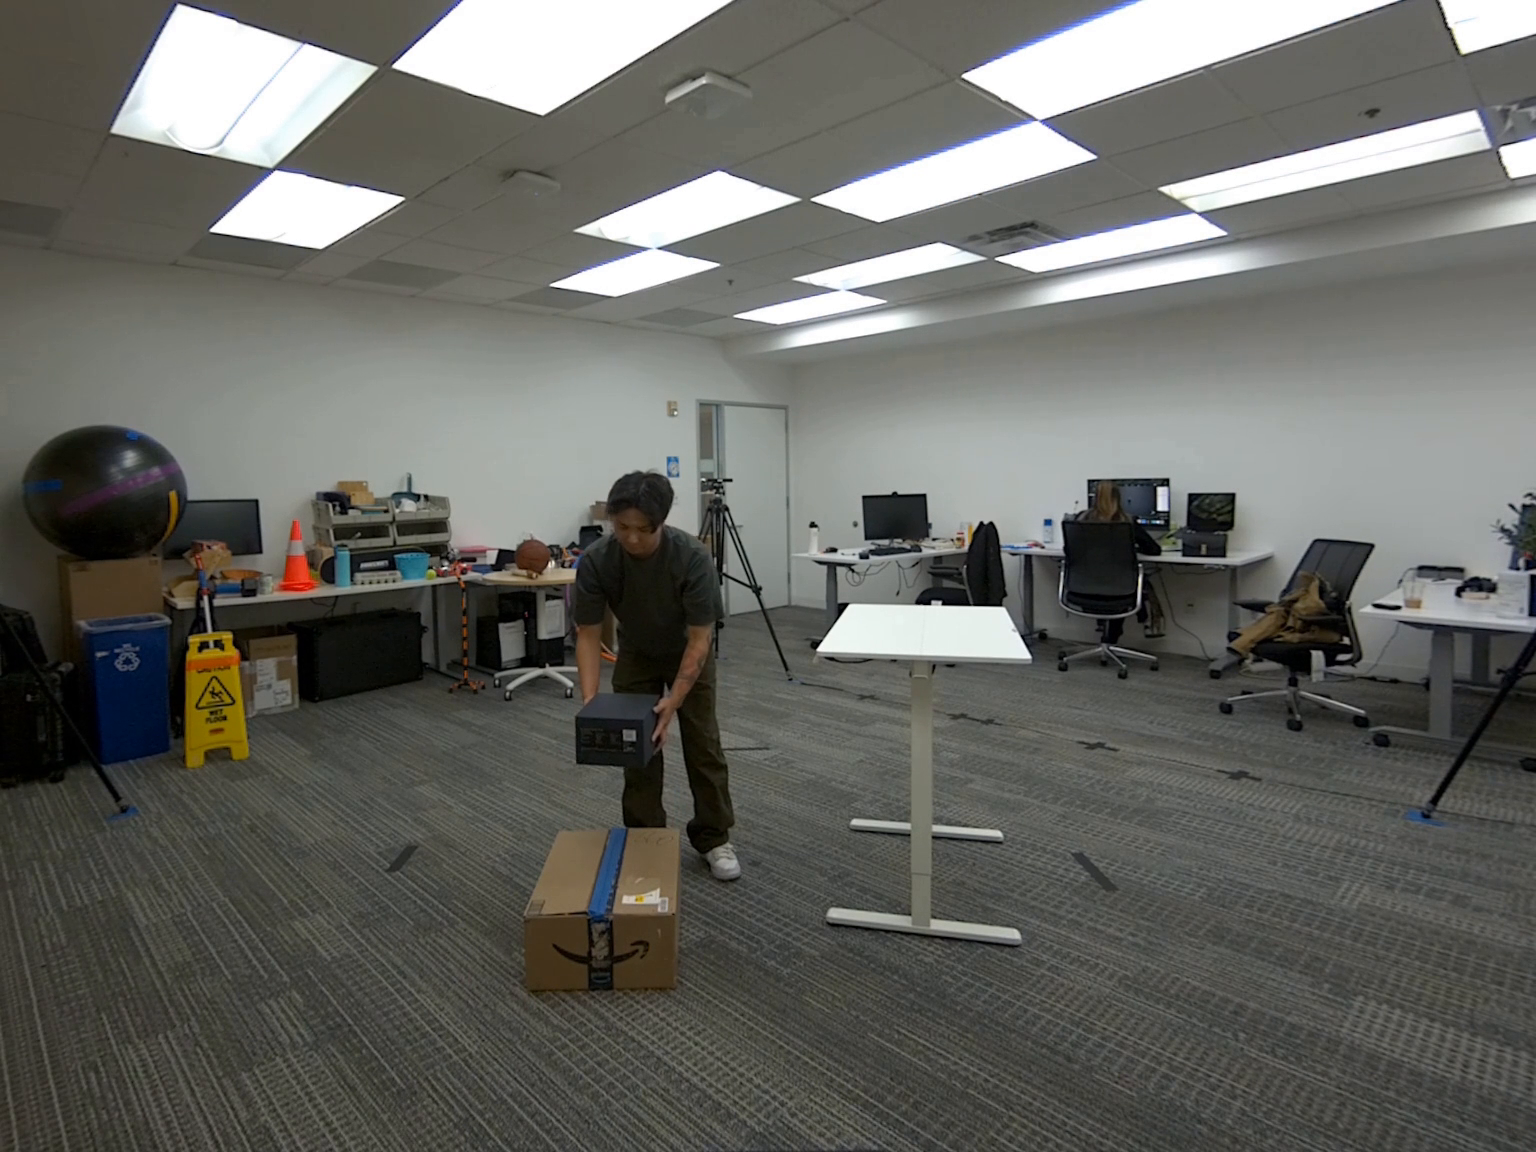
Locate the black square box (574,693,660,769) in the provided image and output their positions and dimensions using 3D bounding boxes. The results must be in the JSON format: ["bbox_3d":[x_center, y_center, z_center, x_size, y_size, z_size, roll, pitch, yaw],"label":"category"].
[{"bbox_3d":[-0.466,0.480,2.681,0.219,0.154,0.228,-1,10,8],"label":"black square box"}]
